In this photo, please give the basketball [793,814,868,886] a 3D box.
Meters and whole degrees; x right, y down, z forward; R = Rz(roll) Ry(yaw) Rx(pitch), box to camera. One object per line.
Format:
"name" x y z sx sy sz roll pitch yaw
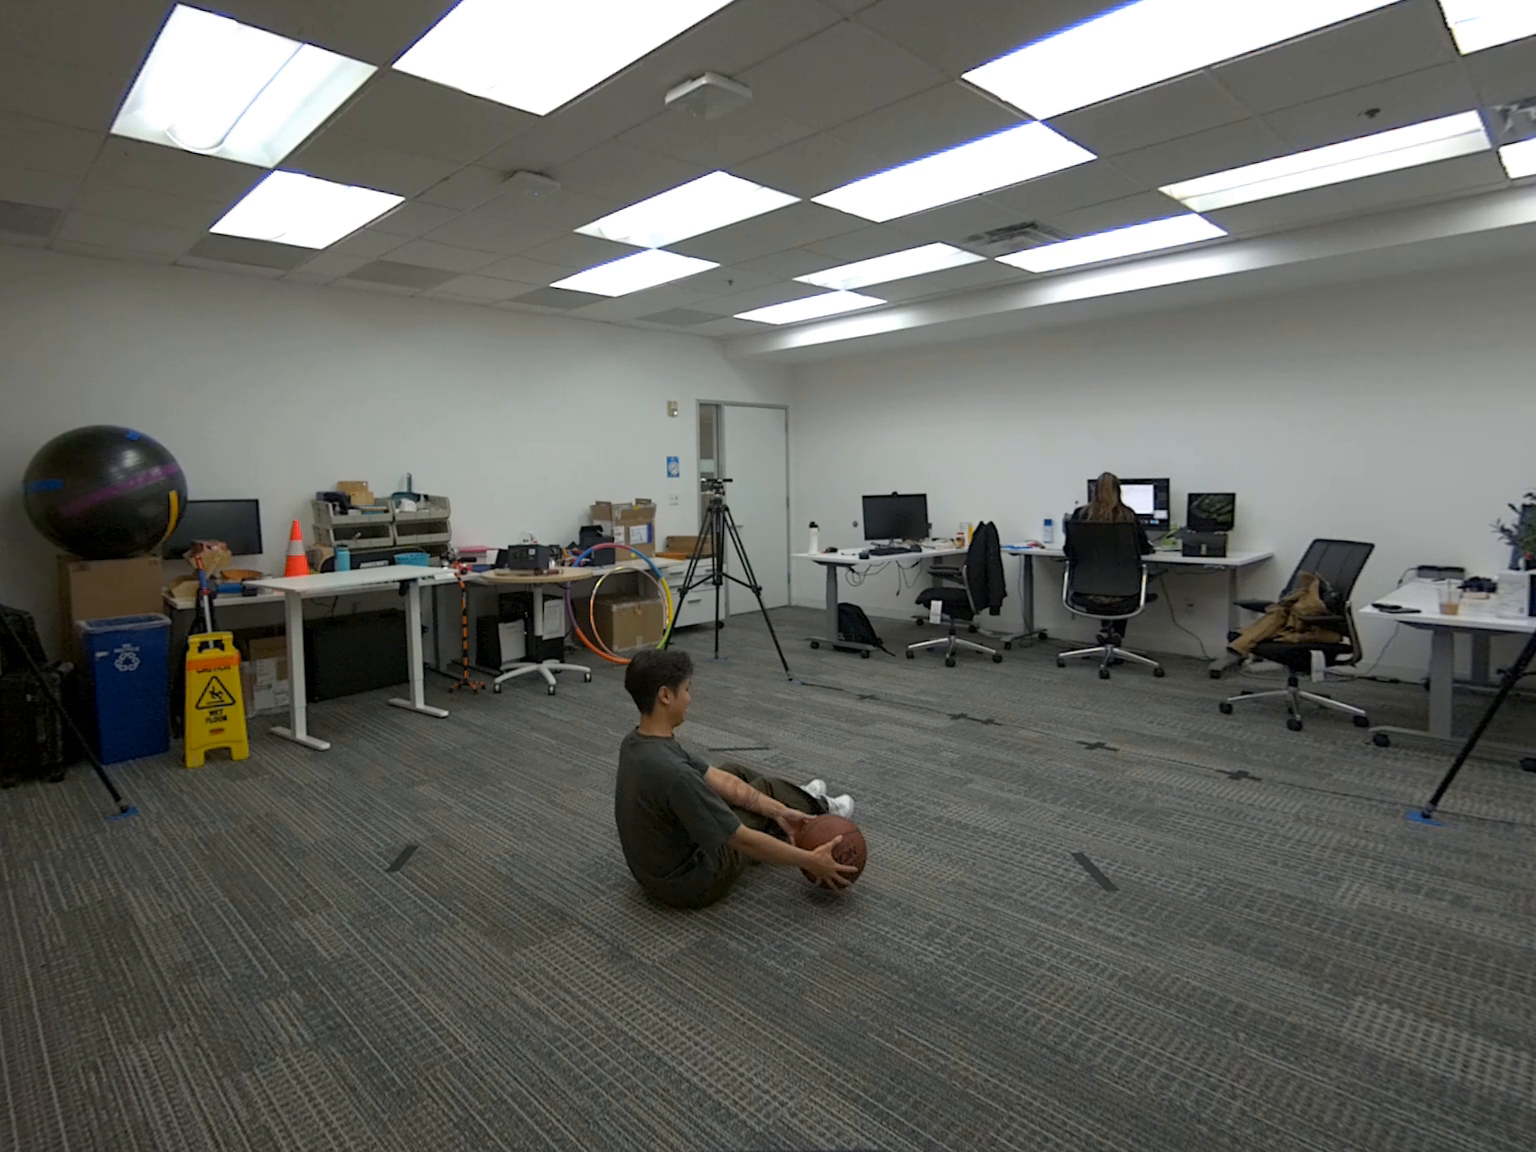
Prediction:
"basketball" 0.212 0.909 2.870 0.236 0.235 0.237 -1 5 -2
